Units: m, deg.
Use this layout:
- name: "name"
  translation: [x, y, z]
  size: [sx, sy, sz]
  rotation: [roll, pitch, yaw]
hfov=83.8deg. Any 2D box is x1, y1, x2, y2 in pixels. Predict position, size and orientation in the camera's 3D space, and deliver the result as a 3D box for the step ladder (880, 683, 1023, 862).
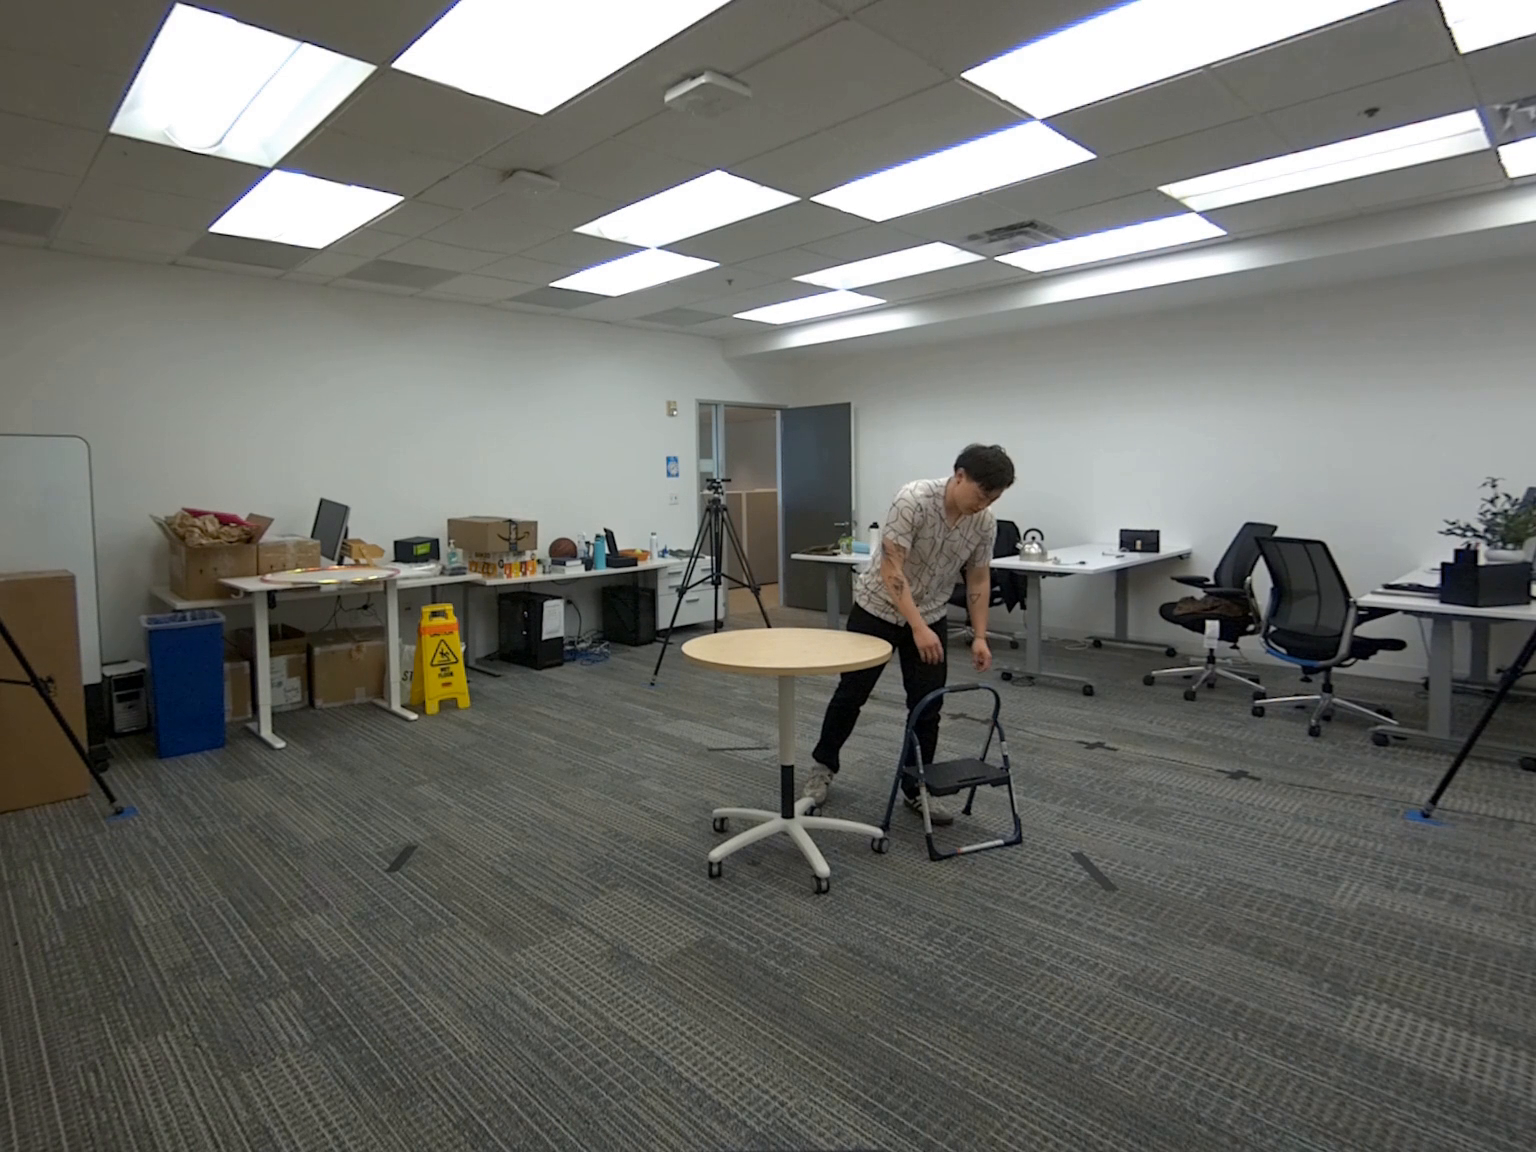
- name: "step ladder"
  translation: [0.708, 0.710, 3.302]
  size: [0.422, 0.604, 0.358]
  rotation: [-2, 5, -24]
